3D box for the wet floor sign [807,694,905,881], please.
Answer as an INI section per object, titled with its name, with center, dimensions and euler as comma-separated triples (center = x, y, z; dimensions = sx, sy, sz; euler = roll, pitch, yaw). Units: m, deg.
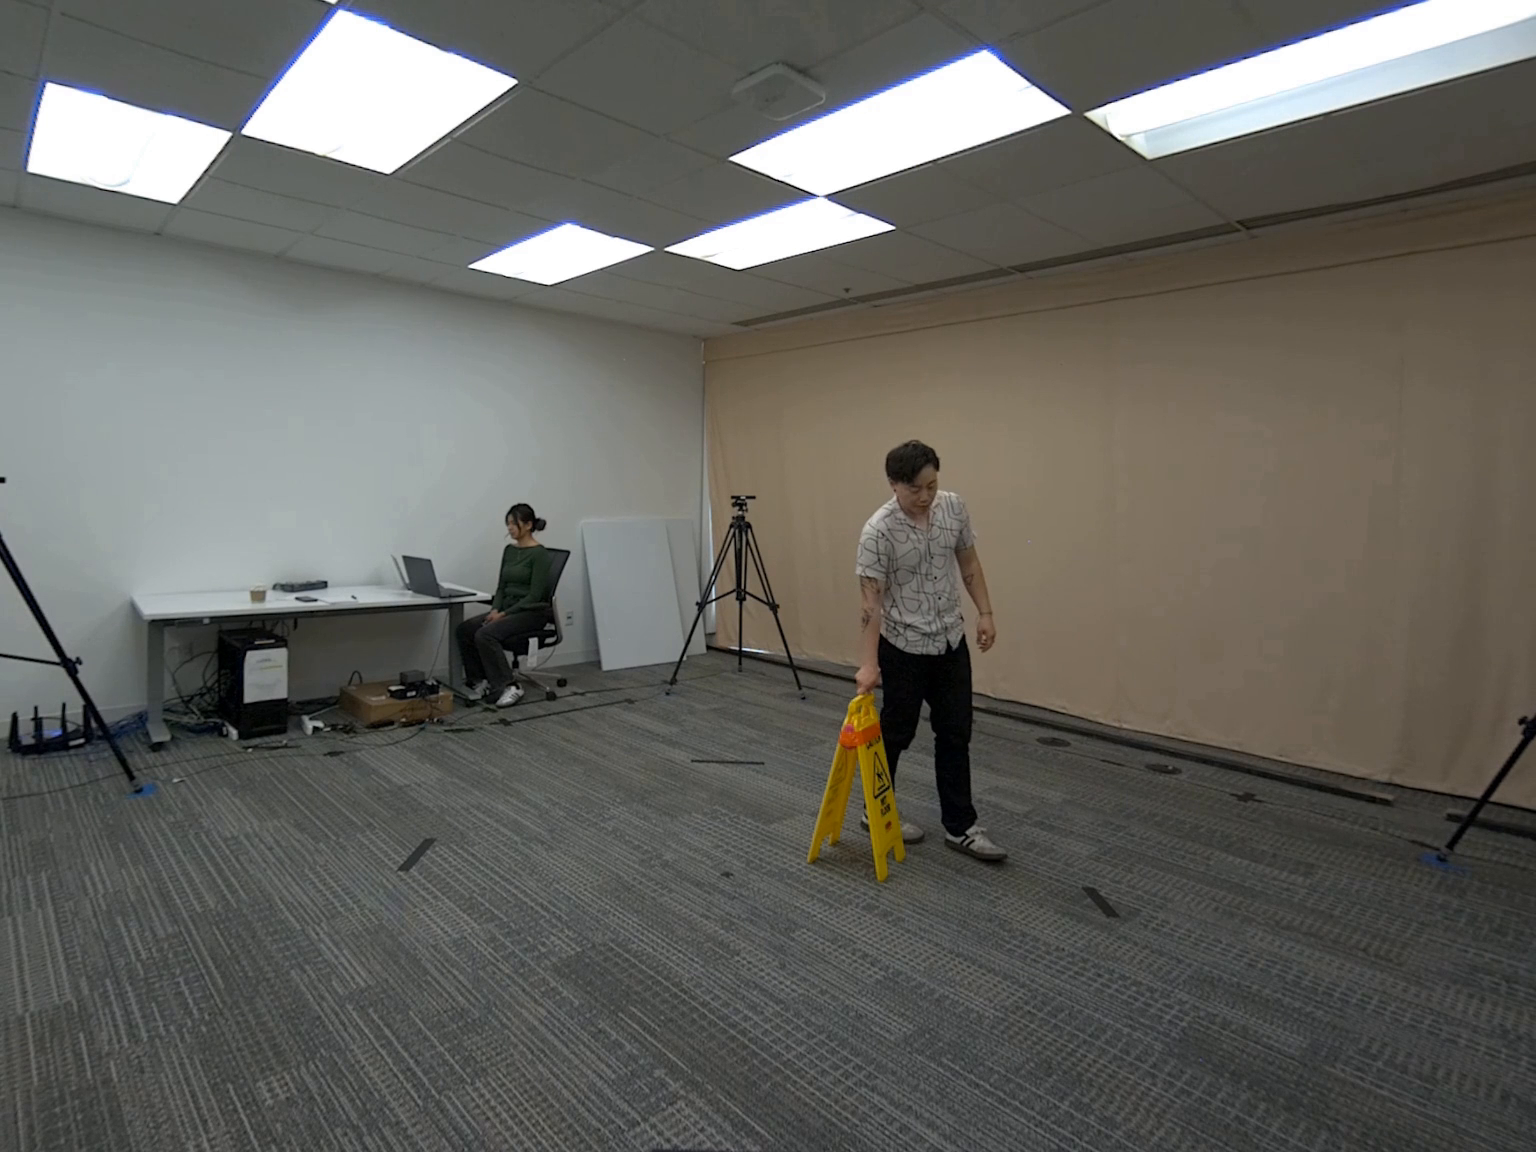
[wet floor sign]
center = 0.340, 0.778, 3.243
dimensions = 0.296, 0.645, 0.277
euler = 2, 2, 29
